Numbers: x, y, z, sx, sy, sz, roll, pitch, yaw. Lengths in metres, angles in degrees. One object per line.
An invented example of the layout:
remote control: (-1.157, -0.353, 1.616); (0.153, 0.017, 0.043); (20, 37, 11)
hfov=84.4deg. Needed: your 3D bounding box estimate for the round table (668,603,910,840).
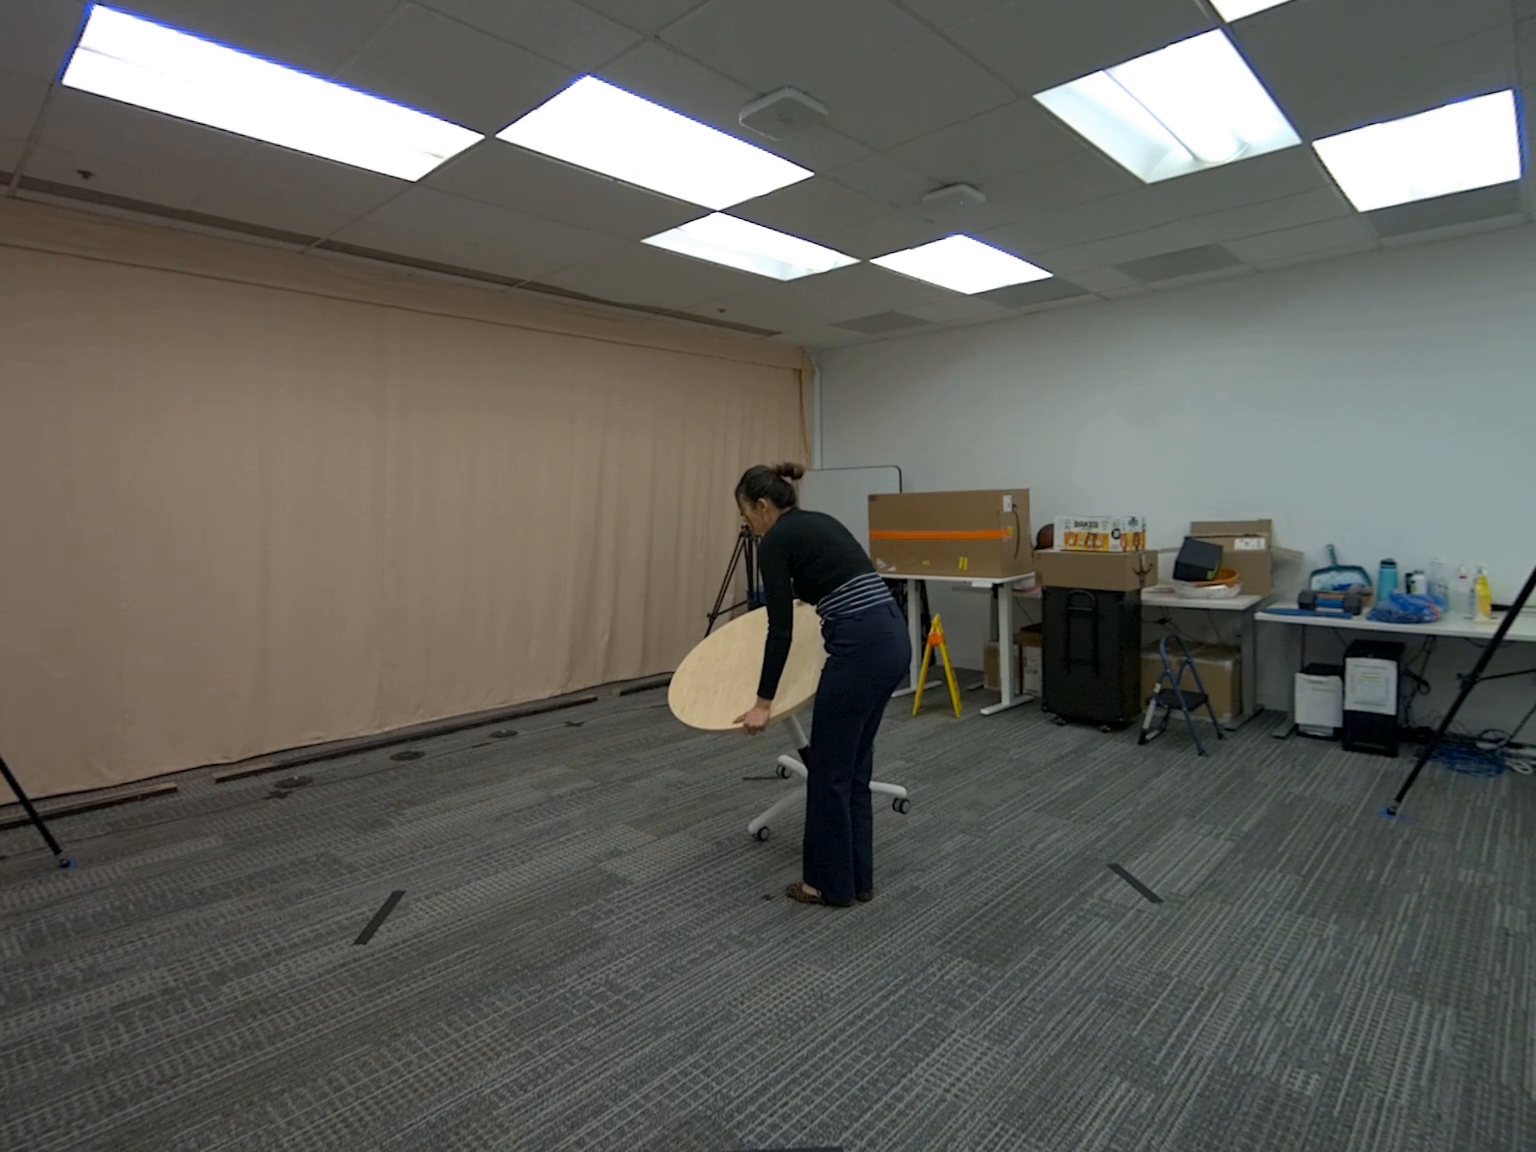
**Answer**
round table: (0.121, 0.639, 3.357); (0.769, 0.776, 0.776); (-21, 24, 8)
